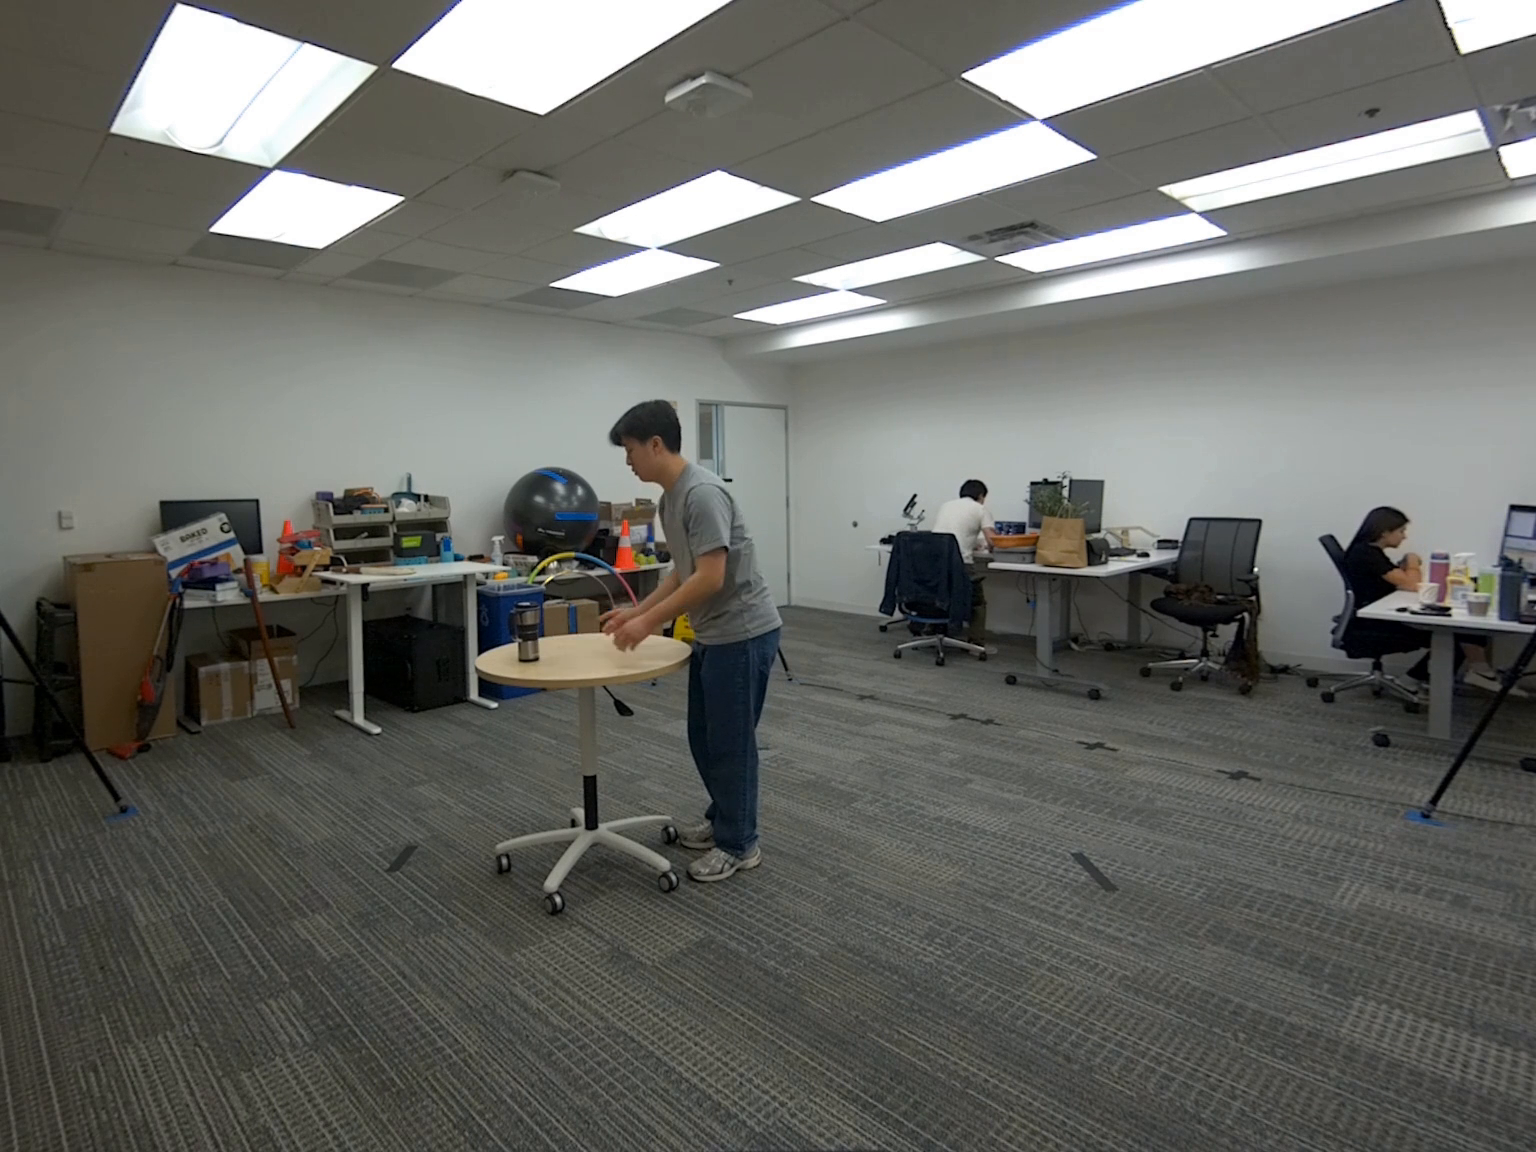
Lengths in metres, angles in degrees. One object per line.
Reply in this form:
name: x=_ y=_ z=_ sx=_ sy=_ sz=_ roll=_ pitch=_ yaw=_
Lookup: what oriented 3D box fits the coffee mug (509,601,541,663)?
coffee mug: x=-0.846 y=0.195 z=2.956 sx=0.118 sy=0.202 sz=0.091 roll=0 pitch=5 yaw=-42
